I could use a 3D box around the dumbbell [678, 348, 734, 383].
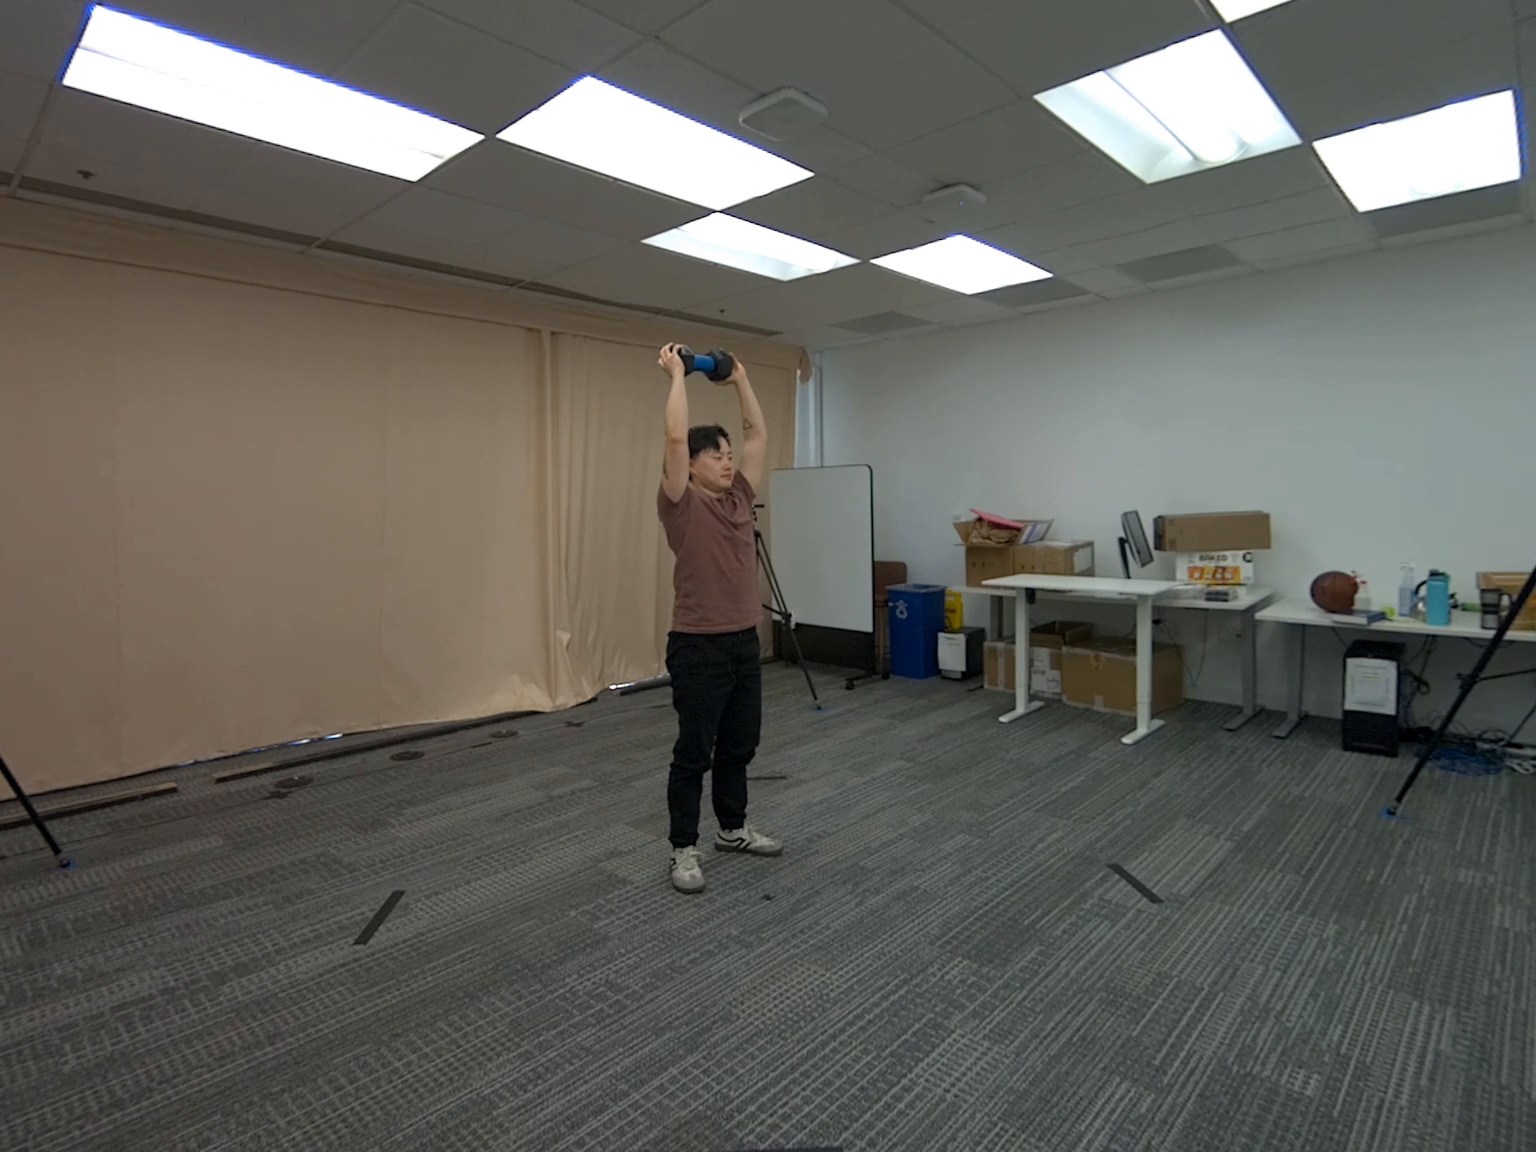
[{"bbox_3d":[-0.254,-0.800,3.191,0.285,0.109,0.126,-9,52,-48],"label":"dumbbell"}]
